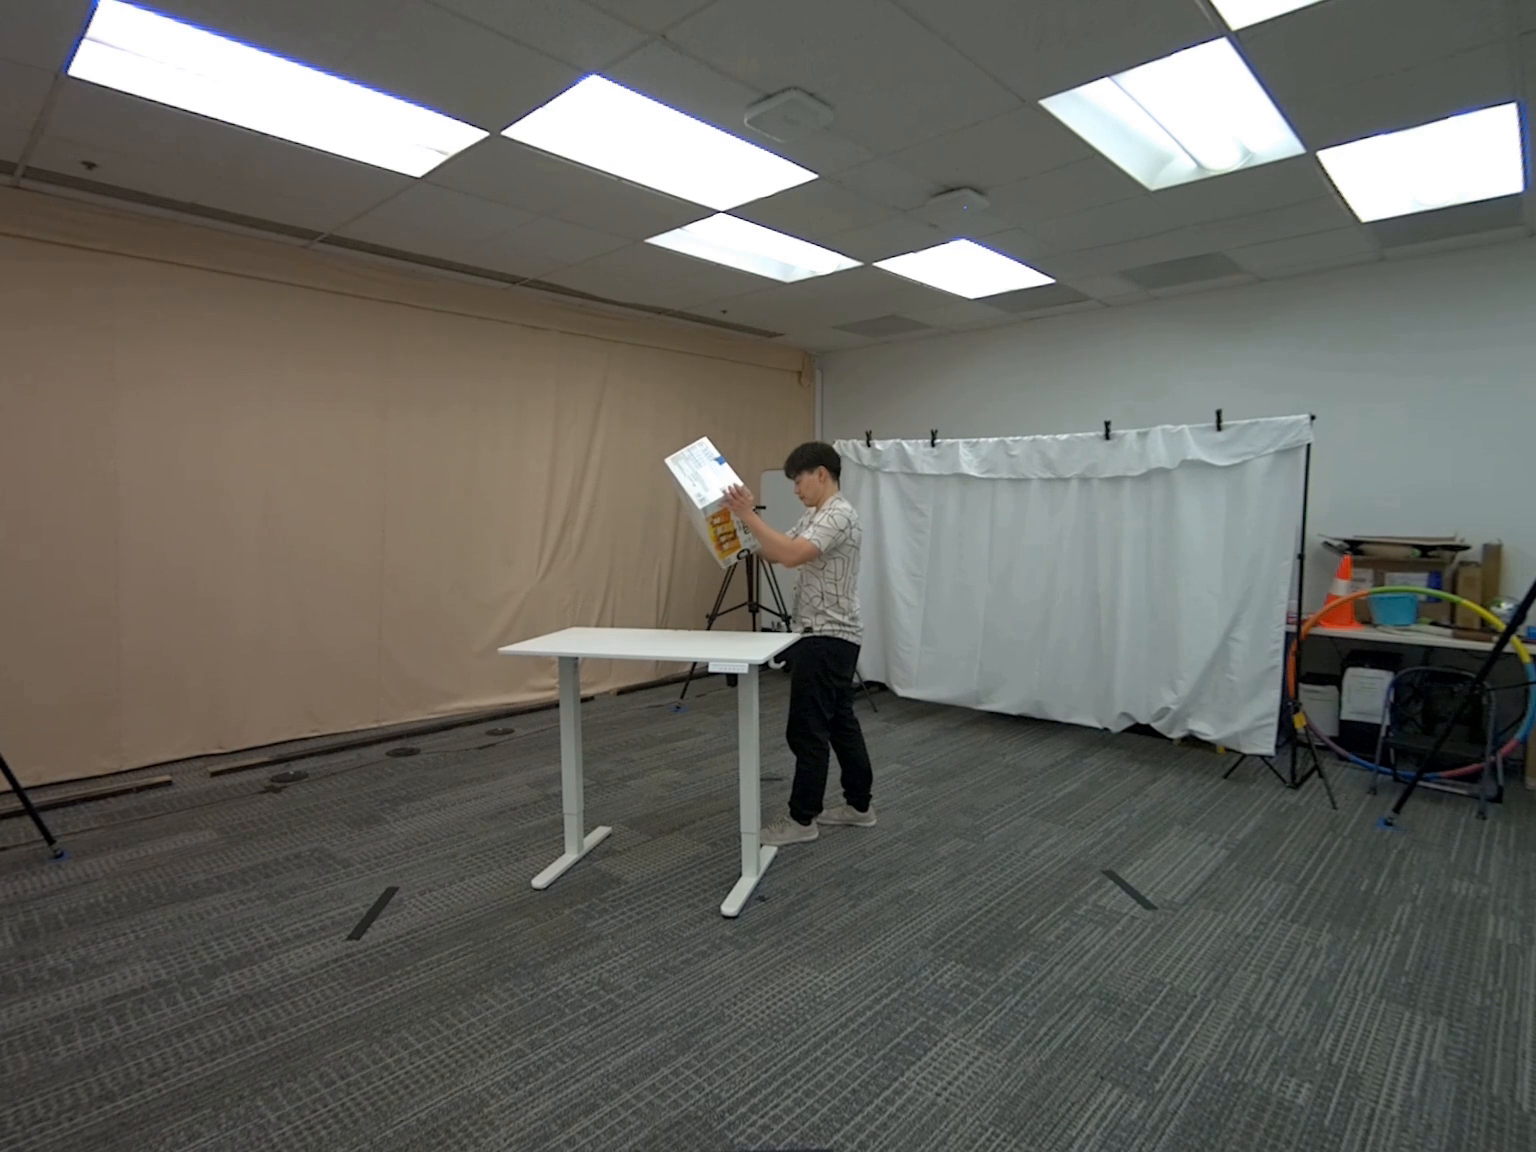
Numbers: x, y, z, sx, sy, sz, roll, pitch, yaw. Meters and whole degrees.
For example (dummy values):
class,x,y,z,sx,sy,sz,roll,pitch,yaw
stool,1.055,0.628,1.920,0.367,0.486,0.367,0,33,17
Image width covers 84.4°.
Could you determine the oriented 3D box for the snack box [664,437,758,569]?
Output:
class,x,y,z,sx,sy,sz,roll,pitch,yaw
snack box,-0.221,-0.297,3.498,0.205,0.394,0.352,-31,53,-9
